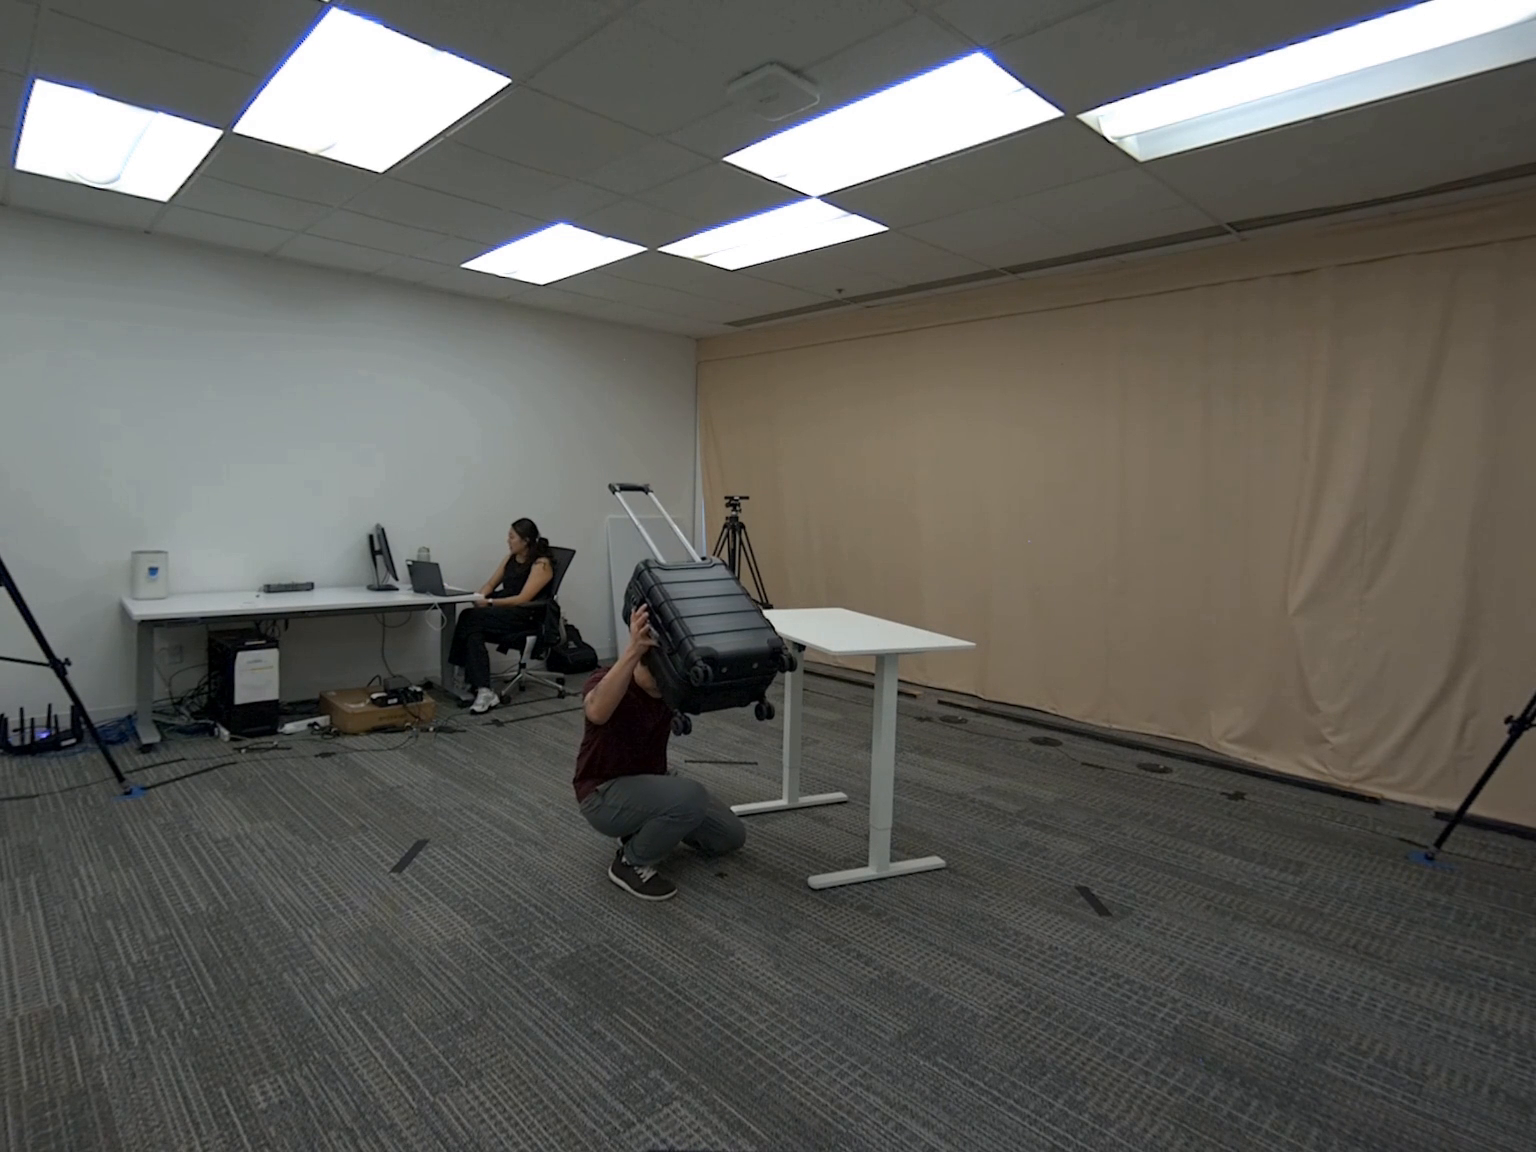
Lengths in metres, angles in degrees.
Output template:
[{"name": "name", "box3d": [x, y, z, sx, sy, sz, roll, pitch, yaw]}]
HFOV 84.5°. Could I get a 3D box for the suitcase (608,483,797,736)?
[{"name": "suitcase", "box3d": [-0.315, 0.057, 2.777, 0.377, 0.254, 1.010, -5, 39, -31]}]
